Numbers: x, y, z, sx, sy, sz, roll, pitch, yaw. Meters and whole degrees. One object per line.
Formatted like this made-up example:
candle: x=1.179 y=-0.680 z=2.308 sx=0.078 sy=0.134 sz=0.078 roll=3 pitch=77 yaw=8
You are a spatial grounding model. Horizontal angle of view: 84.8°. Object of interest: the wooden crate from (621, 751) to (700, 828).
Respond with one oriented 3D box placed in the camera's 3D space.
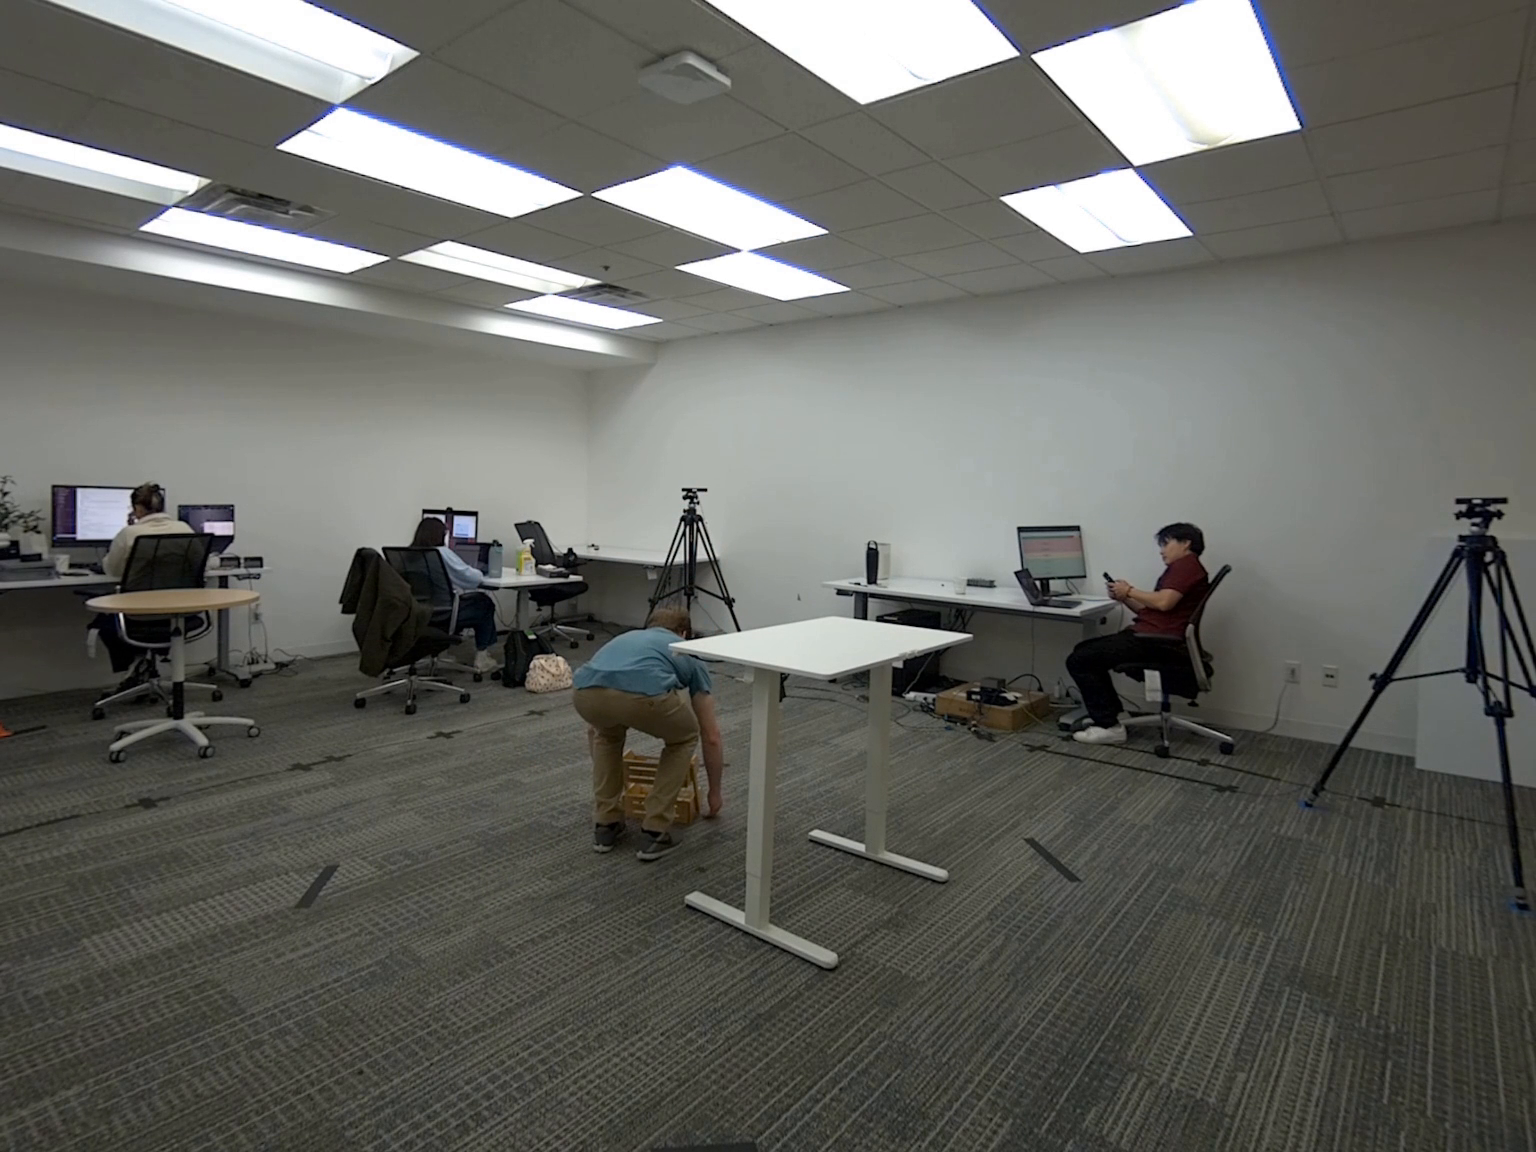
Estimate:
wooden crate: x=-0.468 y=0.880 z=3.659 sx=0.329 sy=0.272 sz=0.299 roll=1 pitch=4 yaw=11
